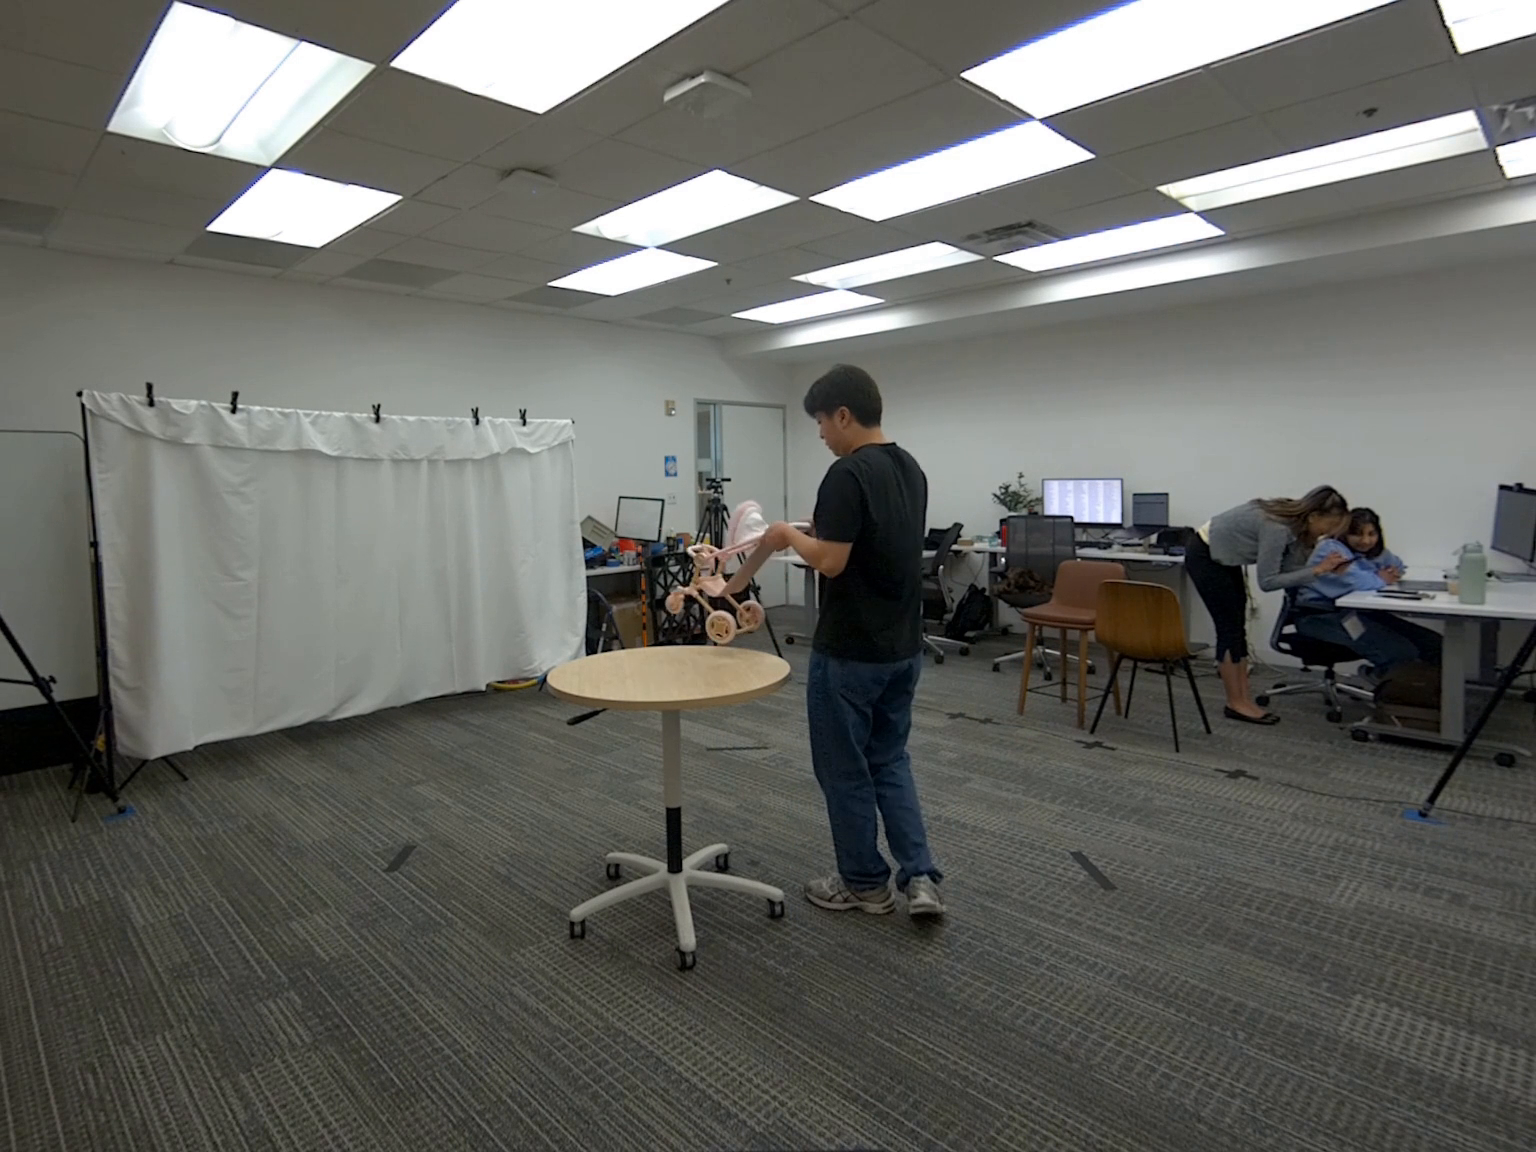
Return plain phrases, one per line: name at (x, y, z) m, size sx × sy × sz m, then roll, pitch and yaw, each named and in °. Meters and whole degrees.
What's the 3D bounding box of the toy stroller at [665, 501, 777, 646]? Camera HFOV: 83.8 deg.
toy stroller at (-0.120, -0.025, 2.961) m, size 0.352 × 0.531 × 0.275 m, roll 33°, pitch 18°, yaw 24°
